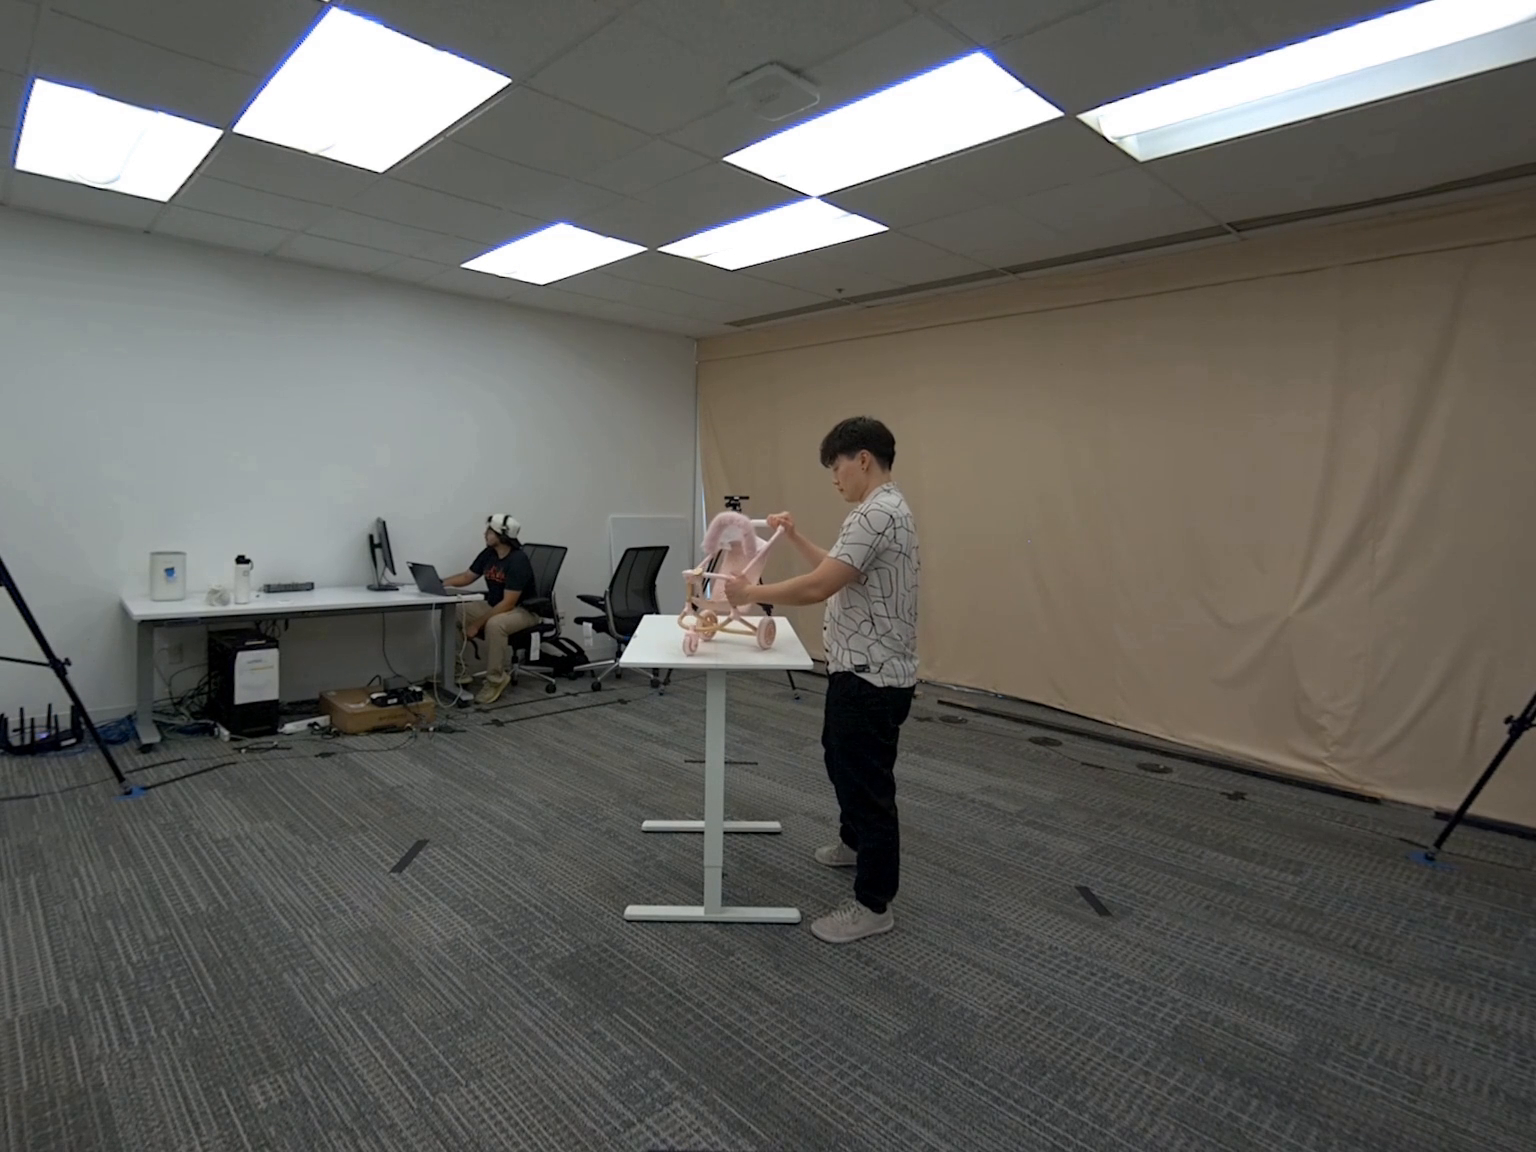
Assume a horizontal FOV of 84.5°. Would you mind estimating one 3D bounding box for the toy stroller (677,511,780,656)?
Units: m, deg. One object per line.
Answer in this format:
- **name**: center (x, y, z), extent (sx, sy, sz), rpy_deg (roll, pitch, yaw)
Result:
- **toy stroller**: center (-0.145, 0.021, 2.861), extent (0.288, 0.538, 0.331), rpy_deg (4, -11, 38)
